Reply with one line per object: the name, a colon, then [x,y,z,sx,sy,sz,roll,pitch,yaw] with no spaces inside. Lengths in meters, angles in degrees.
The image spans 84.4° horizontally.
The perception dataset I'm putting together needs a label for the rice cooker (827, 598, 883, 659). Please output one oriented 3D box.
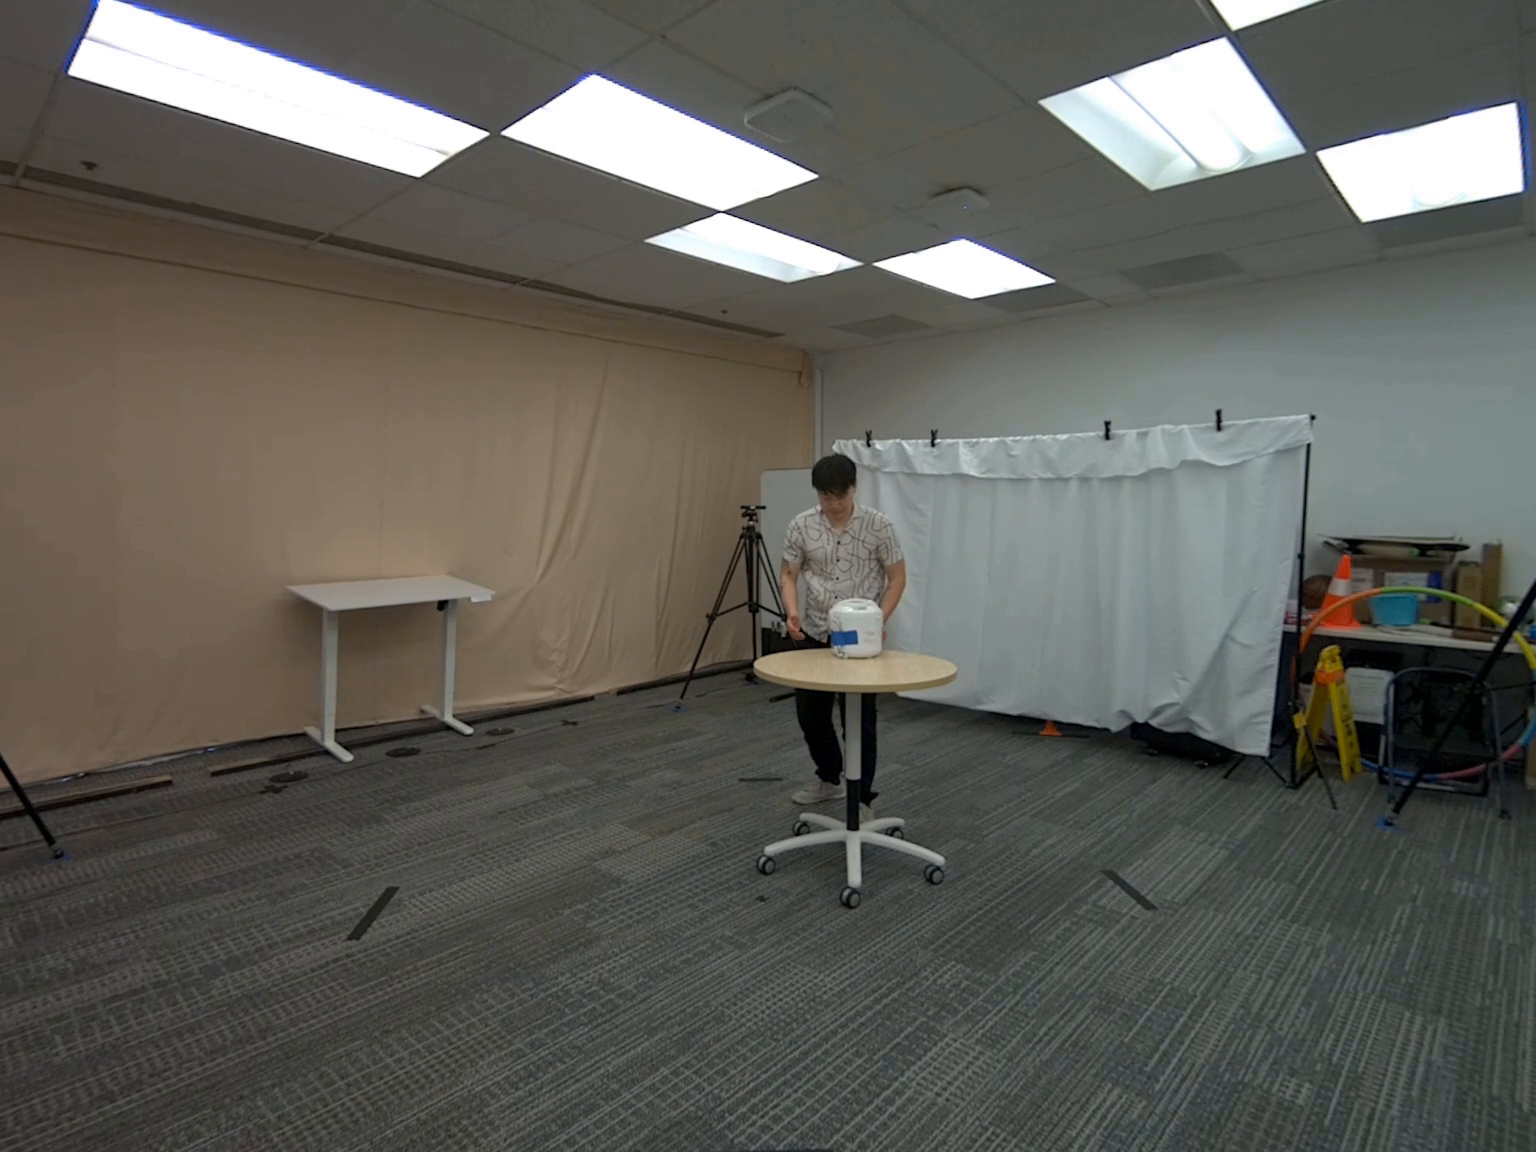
rice cooker: [0.358,0.207,3.438,0.221,0.232,0.217,0,4,2]
